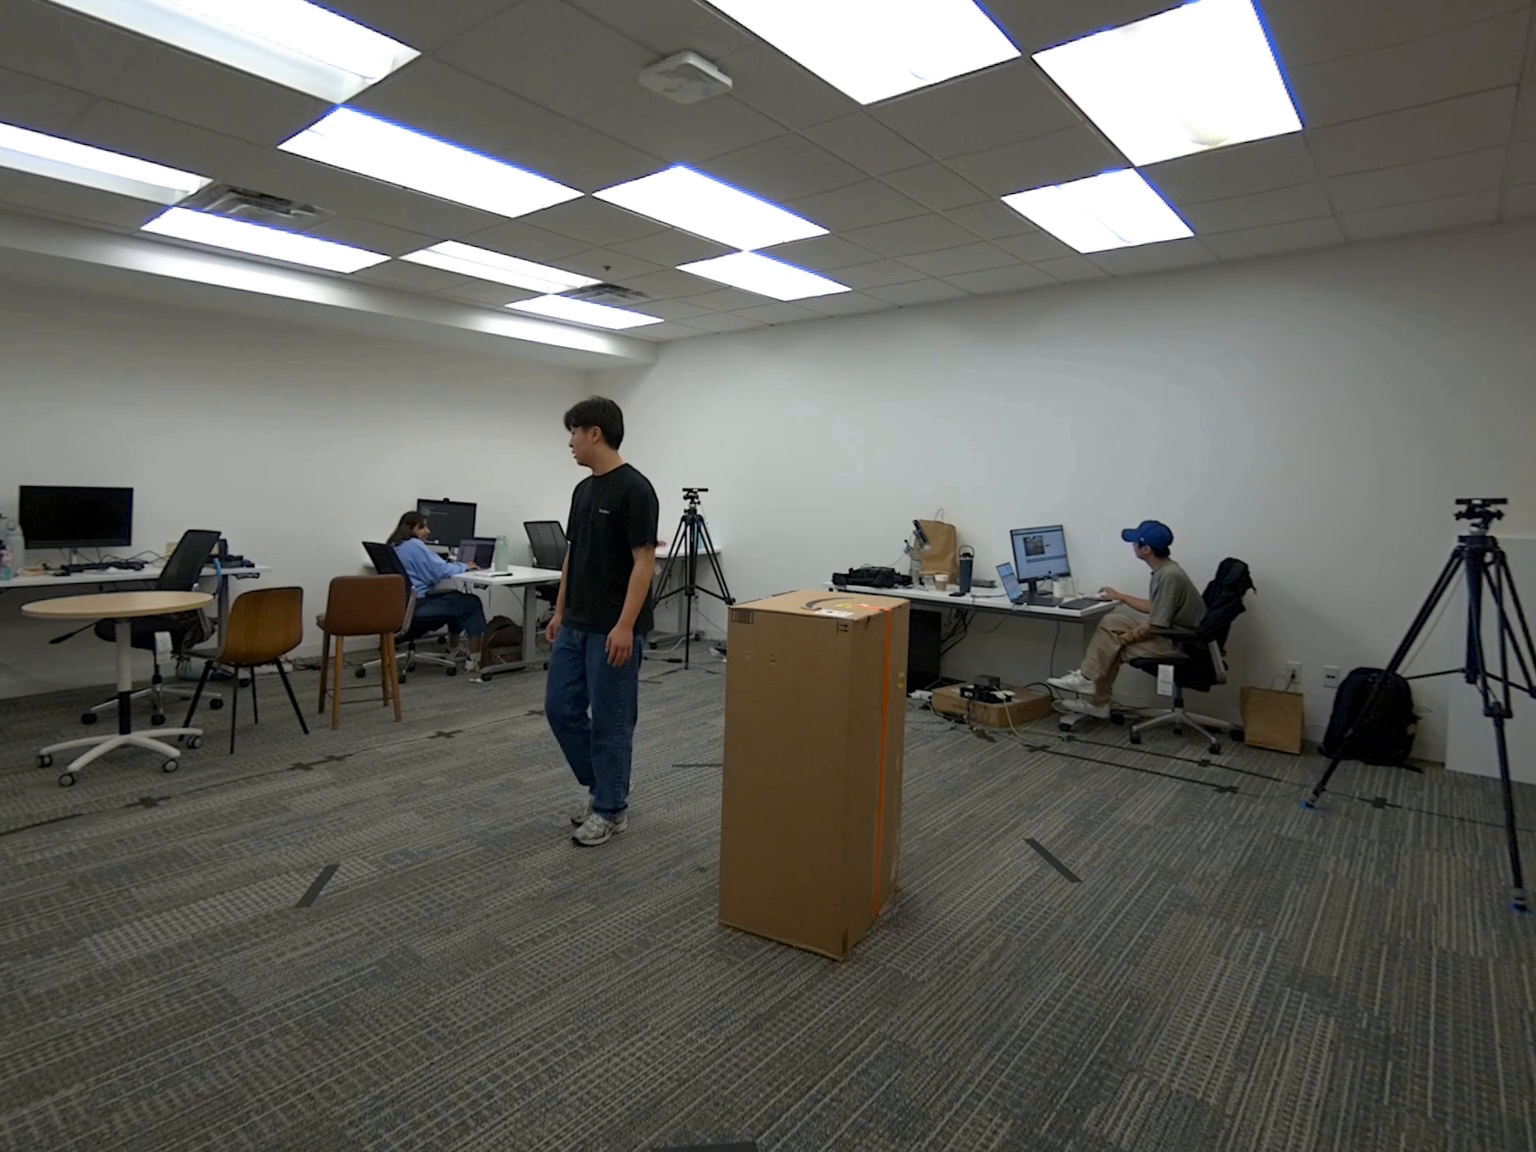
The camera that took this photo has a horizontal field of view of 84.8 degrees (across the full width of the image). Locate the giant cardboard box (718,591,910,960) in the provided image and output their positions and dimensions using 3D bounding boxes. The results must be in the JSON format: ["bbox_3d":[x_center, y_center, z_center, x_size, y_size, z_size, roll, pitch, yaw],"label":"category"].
[{"bbox_3d":[0.162,0.591,2.835,0.460,1.024,0.569,4,4,28],"label":"giant cardboard box"}]
